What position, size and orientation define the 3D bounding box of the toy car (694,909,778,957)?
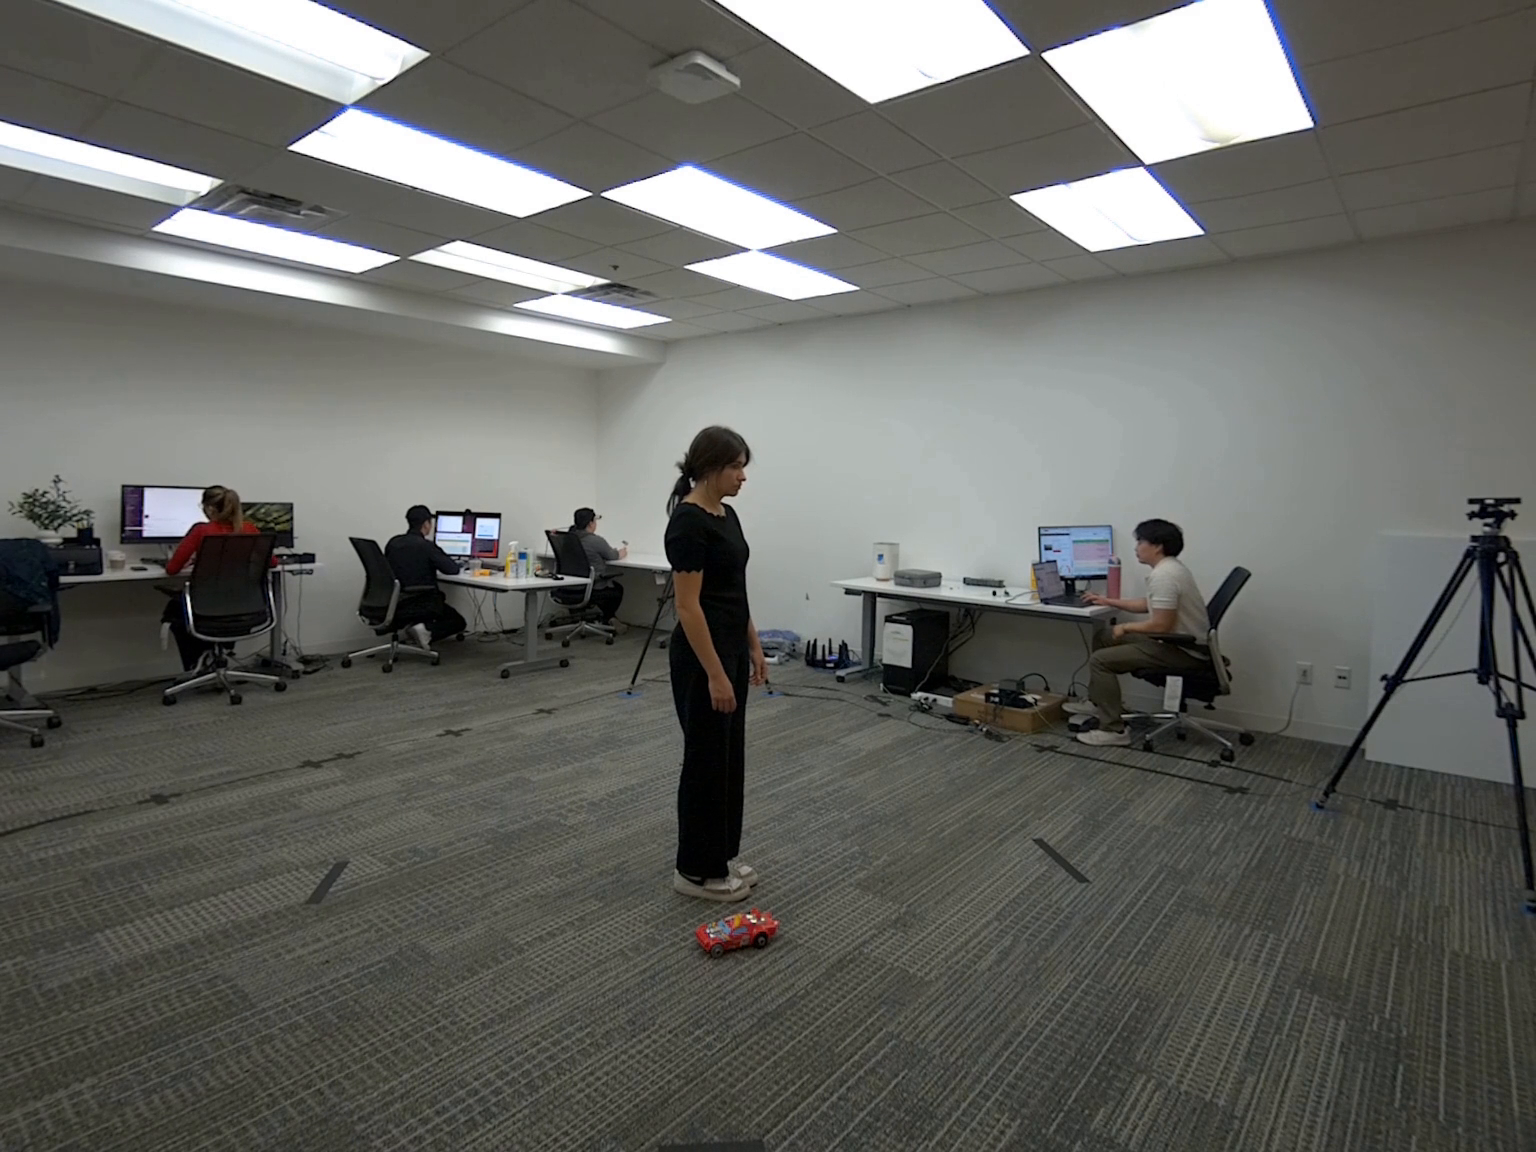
[{"bbox_3d":[-0.095,1.084,2.599,0.250,0.082,0.134,-13,11,-24],"label":"toy car"}]
